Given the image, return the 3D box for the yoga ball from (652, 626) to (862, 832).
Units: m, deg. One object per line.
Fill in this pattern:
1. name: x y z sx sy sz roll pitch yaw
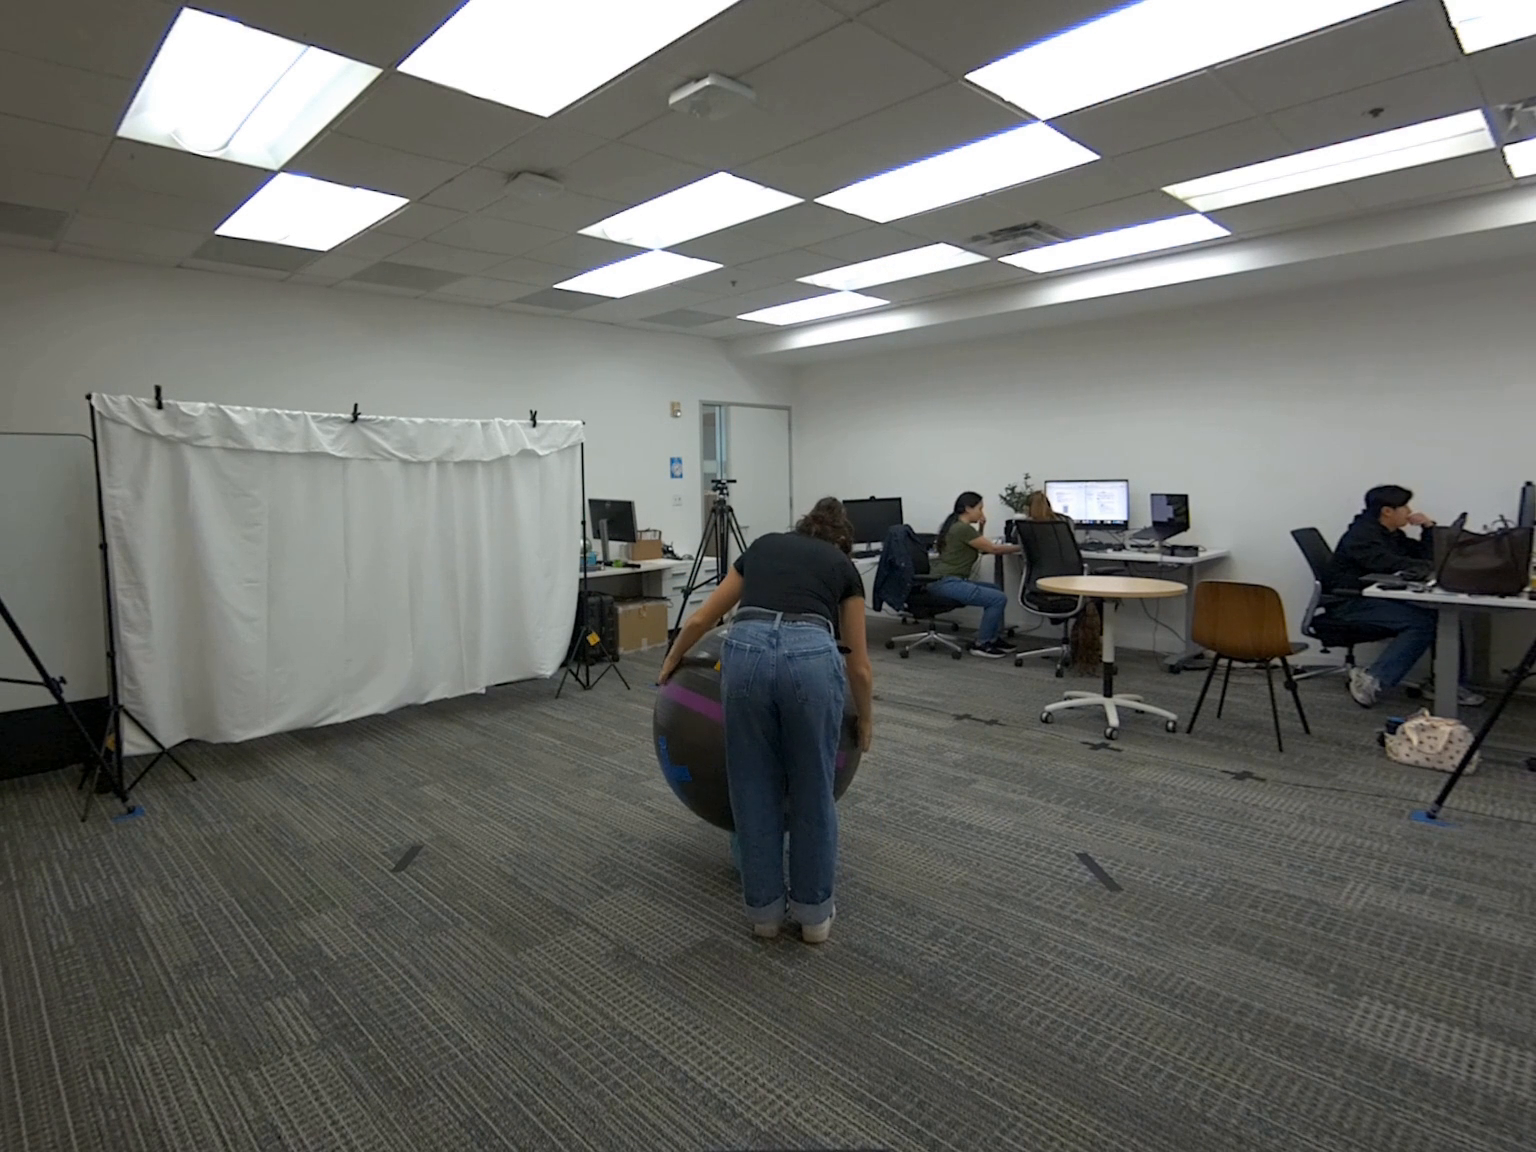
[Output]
1. yoga ball: -0.041 0.539 3.086 0.757 0.755 0.762 -1 5 -2
